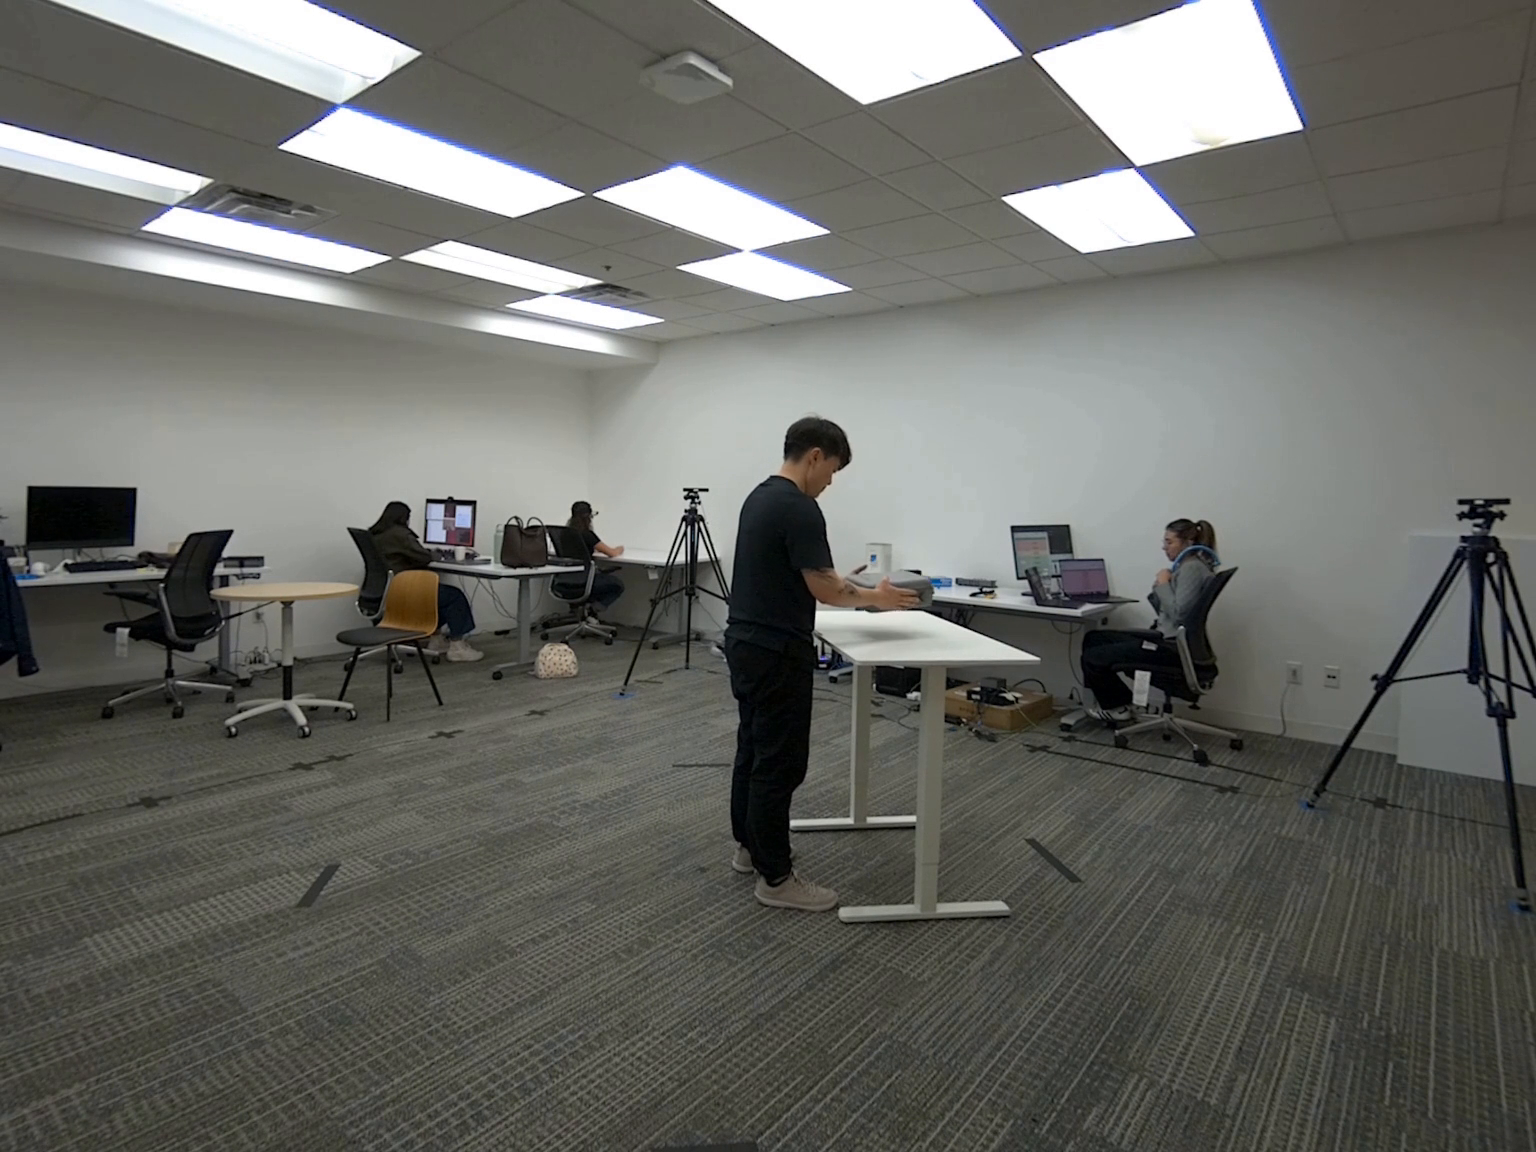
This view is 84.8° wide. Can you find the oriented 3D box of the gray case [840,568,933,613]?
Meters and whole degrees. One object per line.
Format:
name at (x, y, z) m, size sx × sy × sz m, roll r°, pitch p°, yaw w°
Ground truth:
gray case at (0.423, 0.048, 3.063) m, size 0.259 × 0.104 × 0.260 m, roll -5°, pitch 7°, yaw -7°
